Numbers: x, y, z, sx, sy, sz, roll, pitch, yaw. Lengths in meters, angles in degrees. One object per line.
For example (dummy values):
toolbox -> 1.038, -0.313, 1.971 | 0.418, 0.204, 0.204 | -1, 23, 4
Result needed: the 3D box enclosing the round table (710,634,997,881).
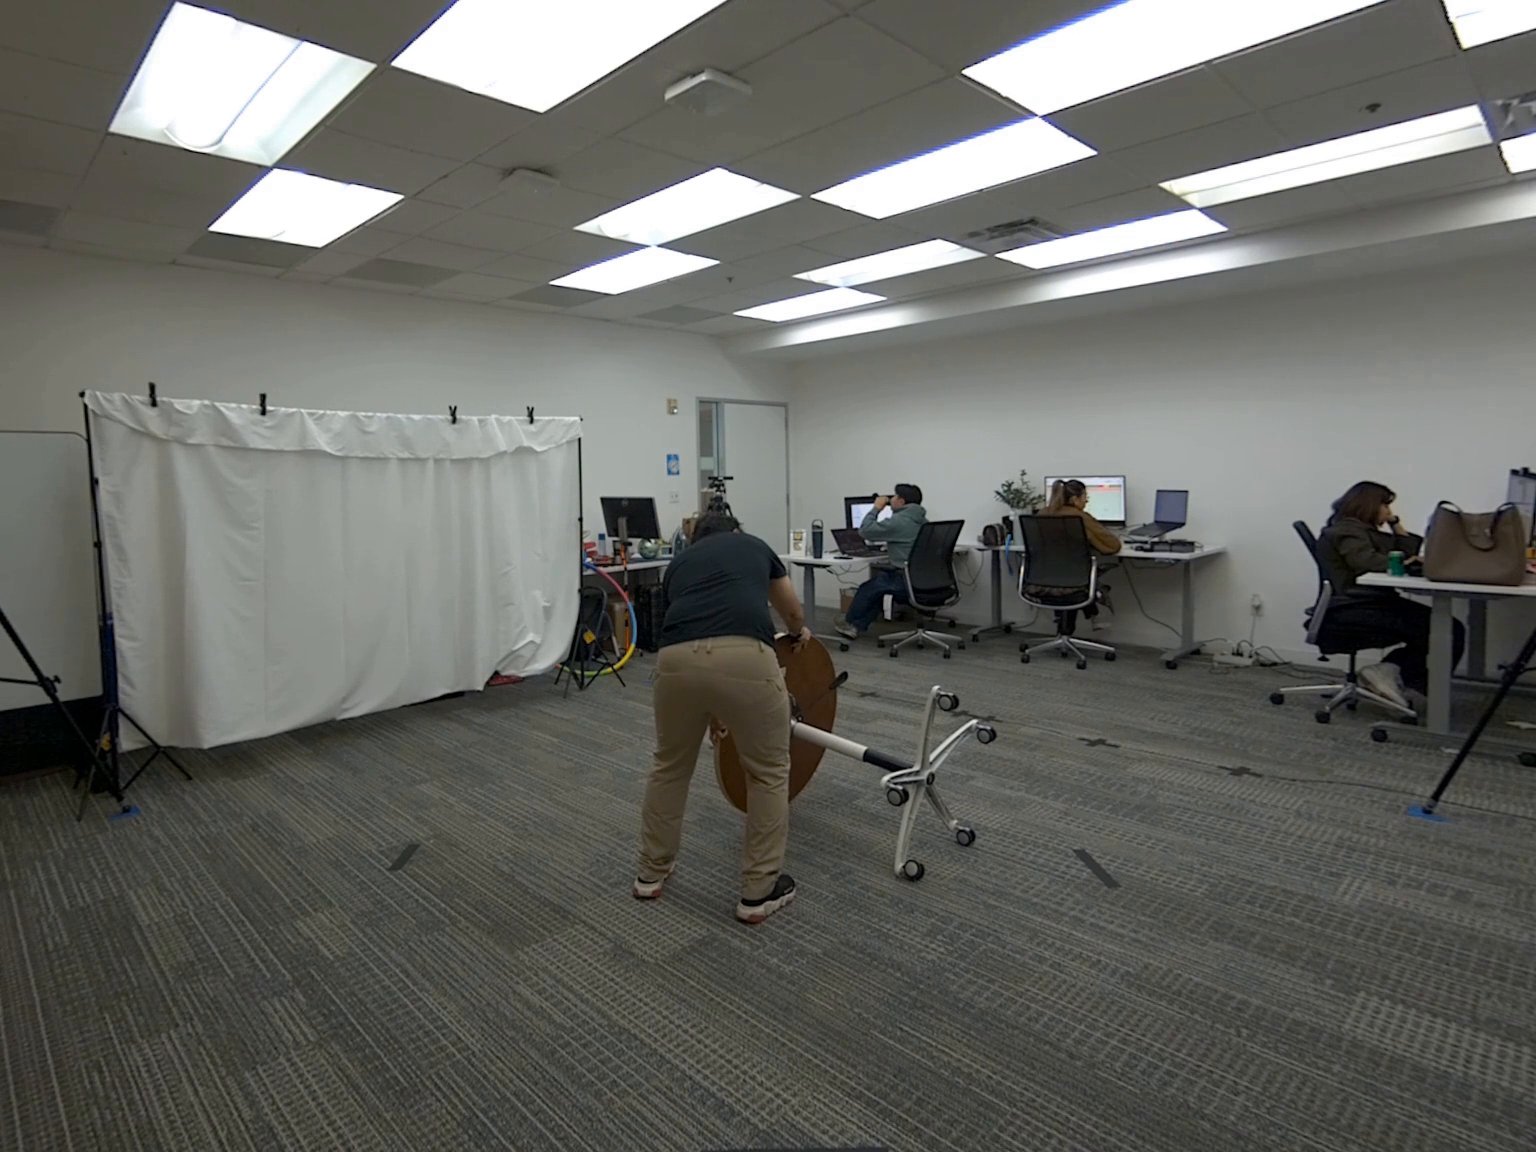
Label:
round table -> 0.350, 0.663, 3.271 | 0.813, 0.779, 0.765 | 12, 12, 39
